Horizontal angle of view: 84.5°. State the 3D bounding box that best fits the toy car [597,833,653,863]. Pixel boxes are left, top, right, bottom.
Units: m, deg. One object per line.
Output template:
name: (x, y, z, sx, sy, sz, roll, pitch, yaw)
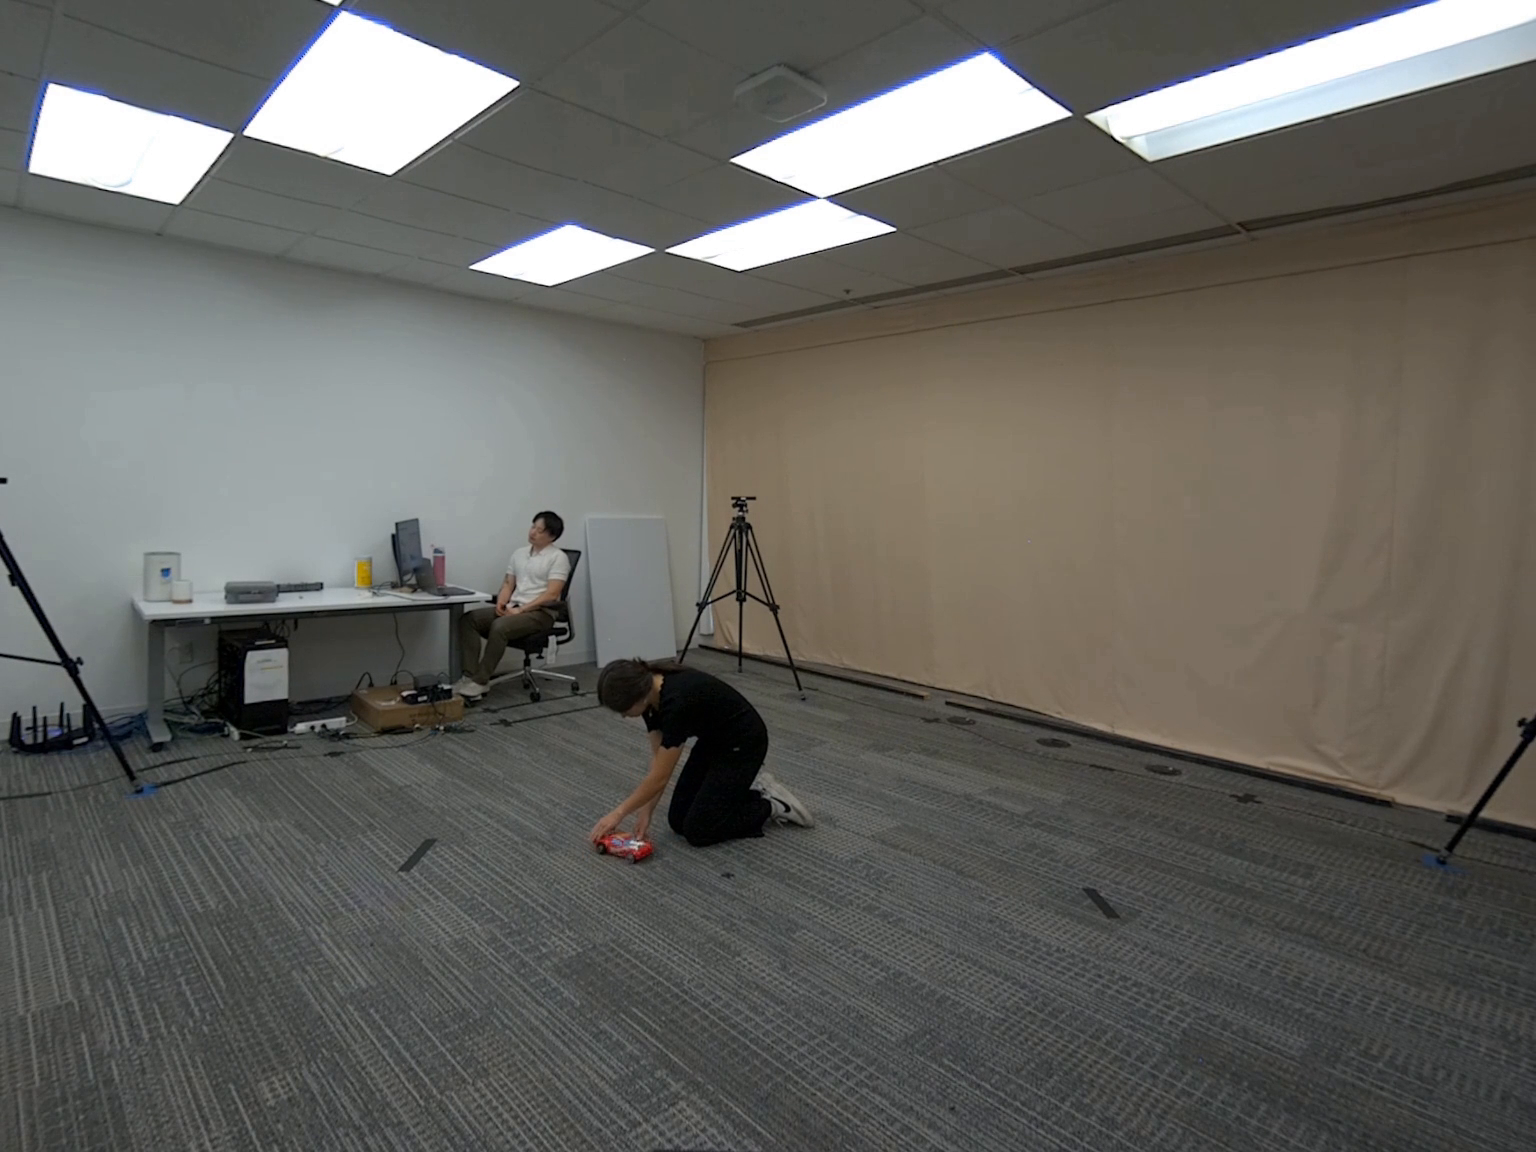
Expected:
toy car: (-0.584, 1.049, 3.276, 0.261, 0.082, 0.128, 17, 13, 31)
